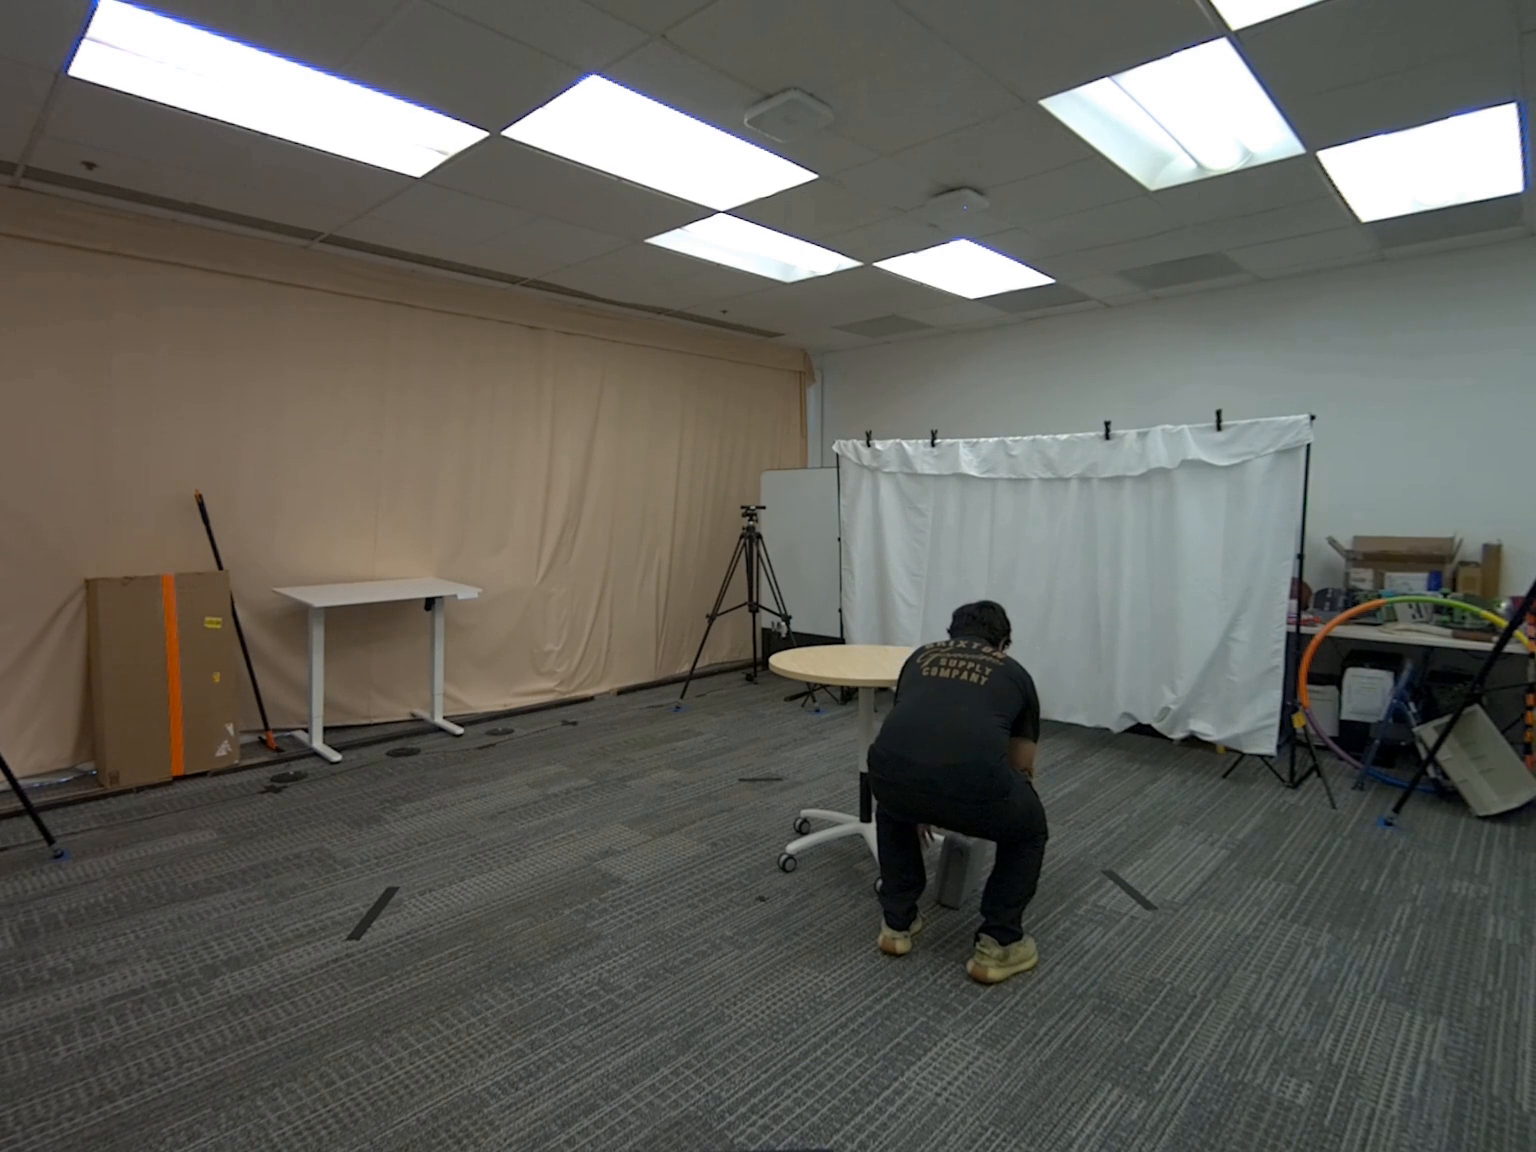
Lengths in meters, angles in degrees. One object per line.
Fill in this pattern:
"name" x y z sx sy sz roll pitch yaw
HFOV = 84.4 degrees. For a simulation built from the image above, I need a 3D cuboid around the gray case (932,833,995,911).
"gray case" 0.693 1.010 2.988 0.108 0.259 0.250 16 11 31
